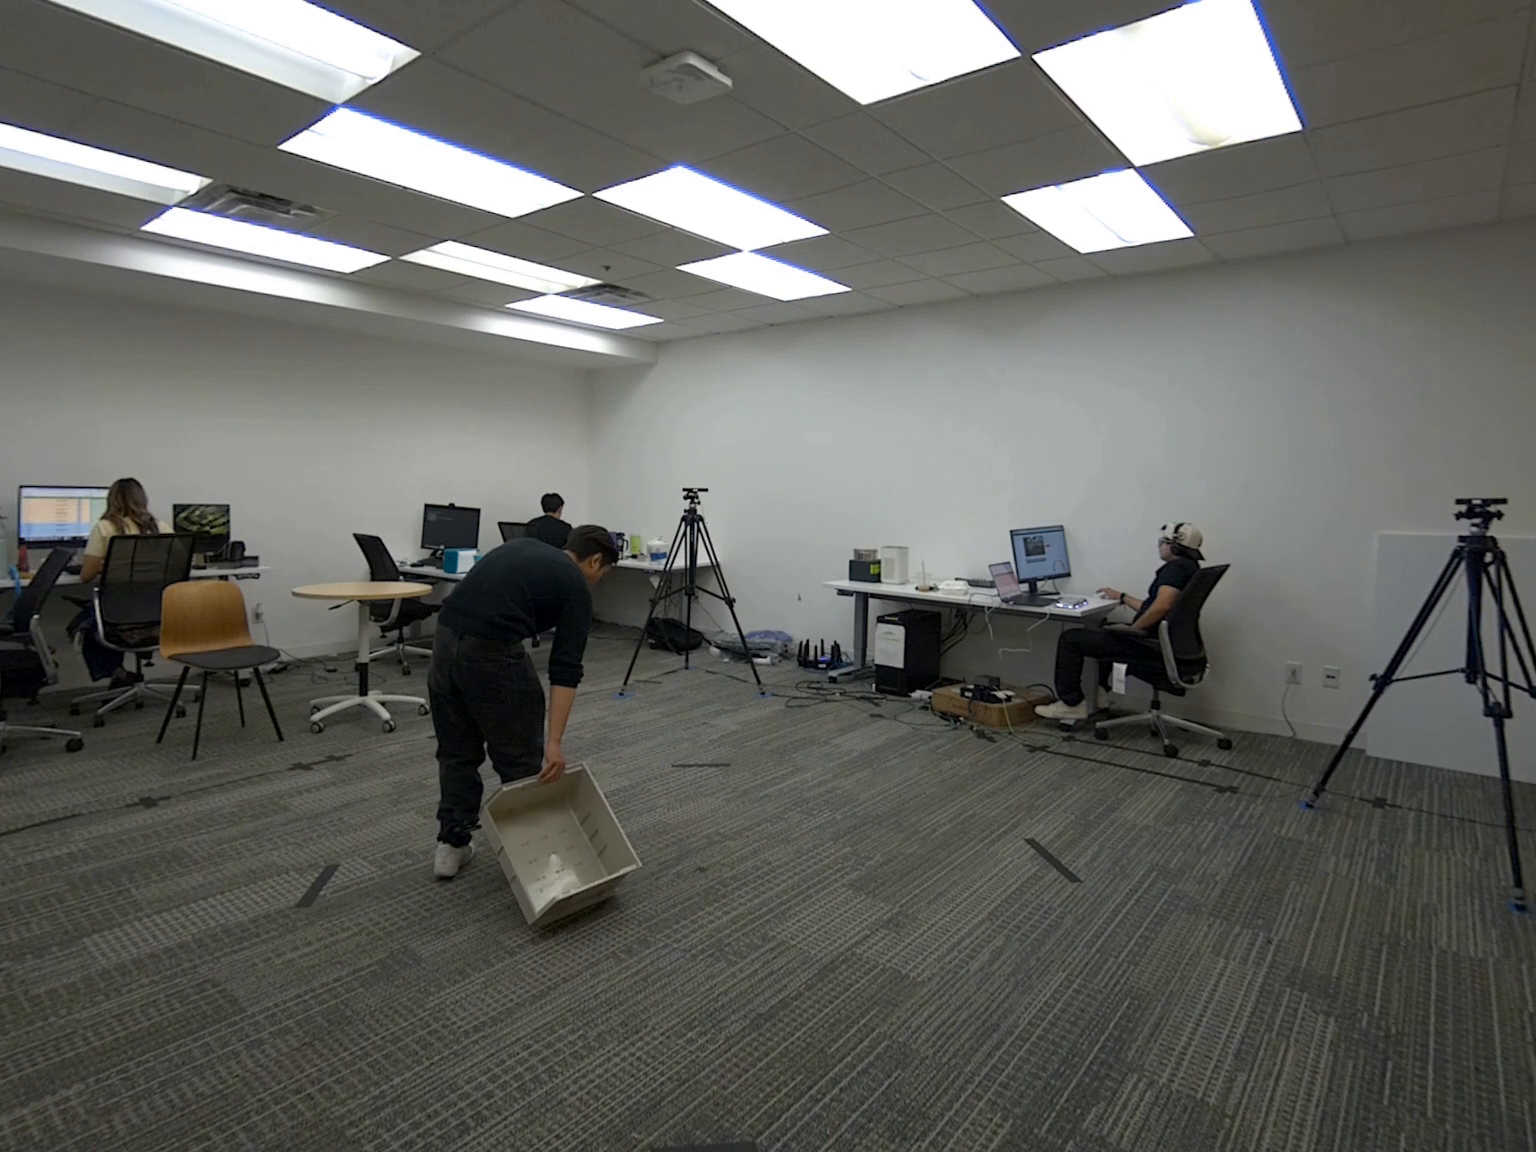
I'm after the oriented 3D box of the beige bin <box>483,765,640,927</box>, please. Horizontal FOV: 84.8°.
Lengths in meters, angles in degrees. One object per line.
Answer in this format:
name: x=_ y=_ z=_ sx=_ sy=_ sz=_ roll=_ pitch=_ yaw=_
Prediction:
beige bin: x=-0.711 y=0.887 z=2.833 sx=0.366 sy=0.188 sz=0.438 roll=-3 pitch=44 yaw=-48
